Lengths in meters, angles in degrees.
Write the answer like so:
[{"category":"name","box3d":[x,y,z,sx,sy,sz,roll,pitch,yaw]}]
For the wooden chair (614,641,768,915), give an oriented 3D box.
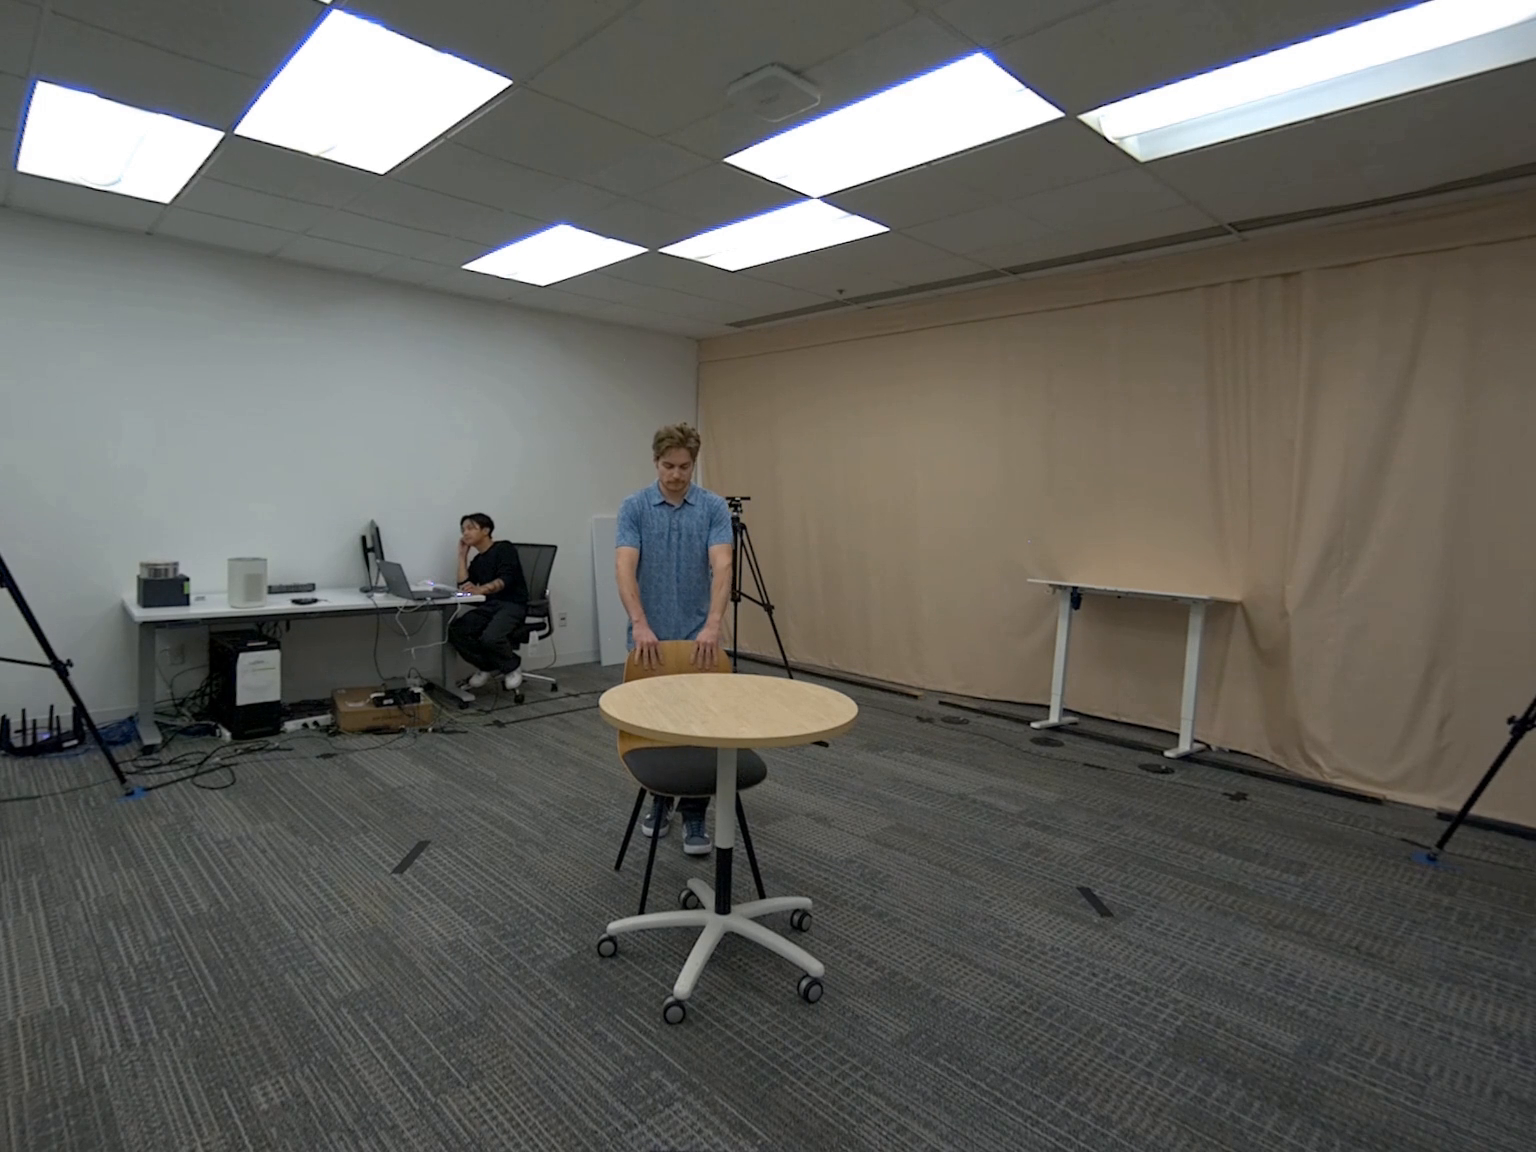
[{"category":"wooden chair","box3d":[-0.281,0.690,2.948,0.471,0.878,0.530,1,-1,-18]}]
